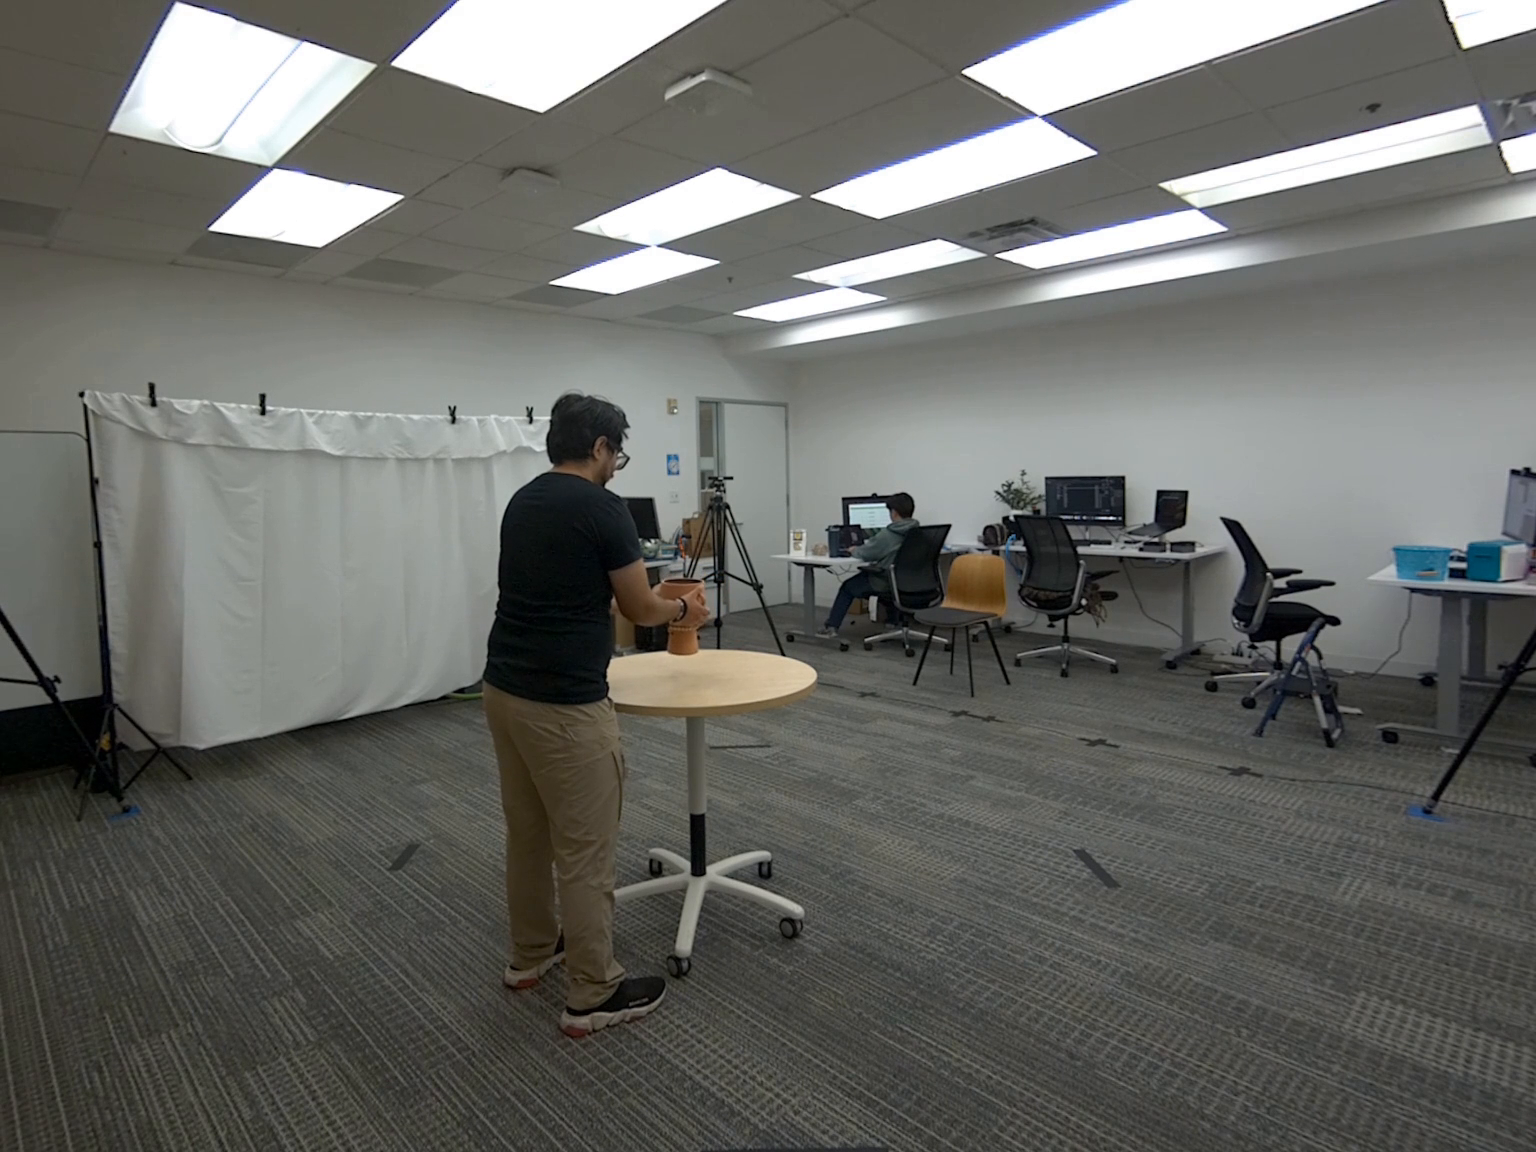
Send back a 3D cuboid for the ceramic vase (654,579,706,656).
[{"bbox_3d":[-0.257,0.130,2.613,0.133,0.217,0.162,-1,14,-9],"label":"ceramic vase"}]
